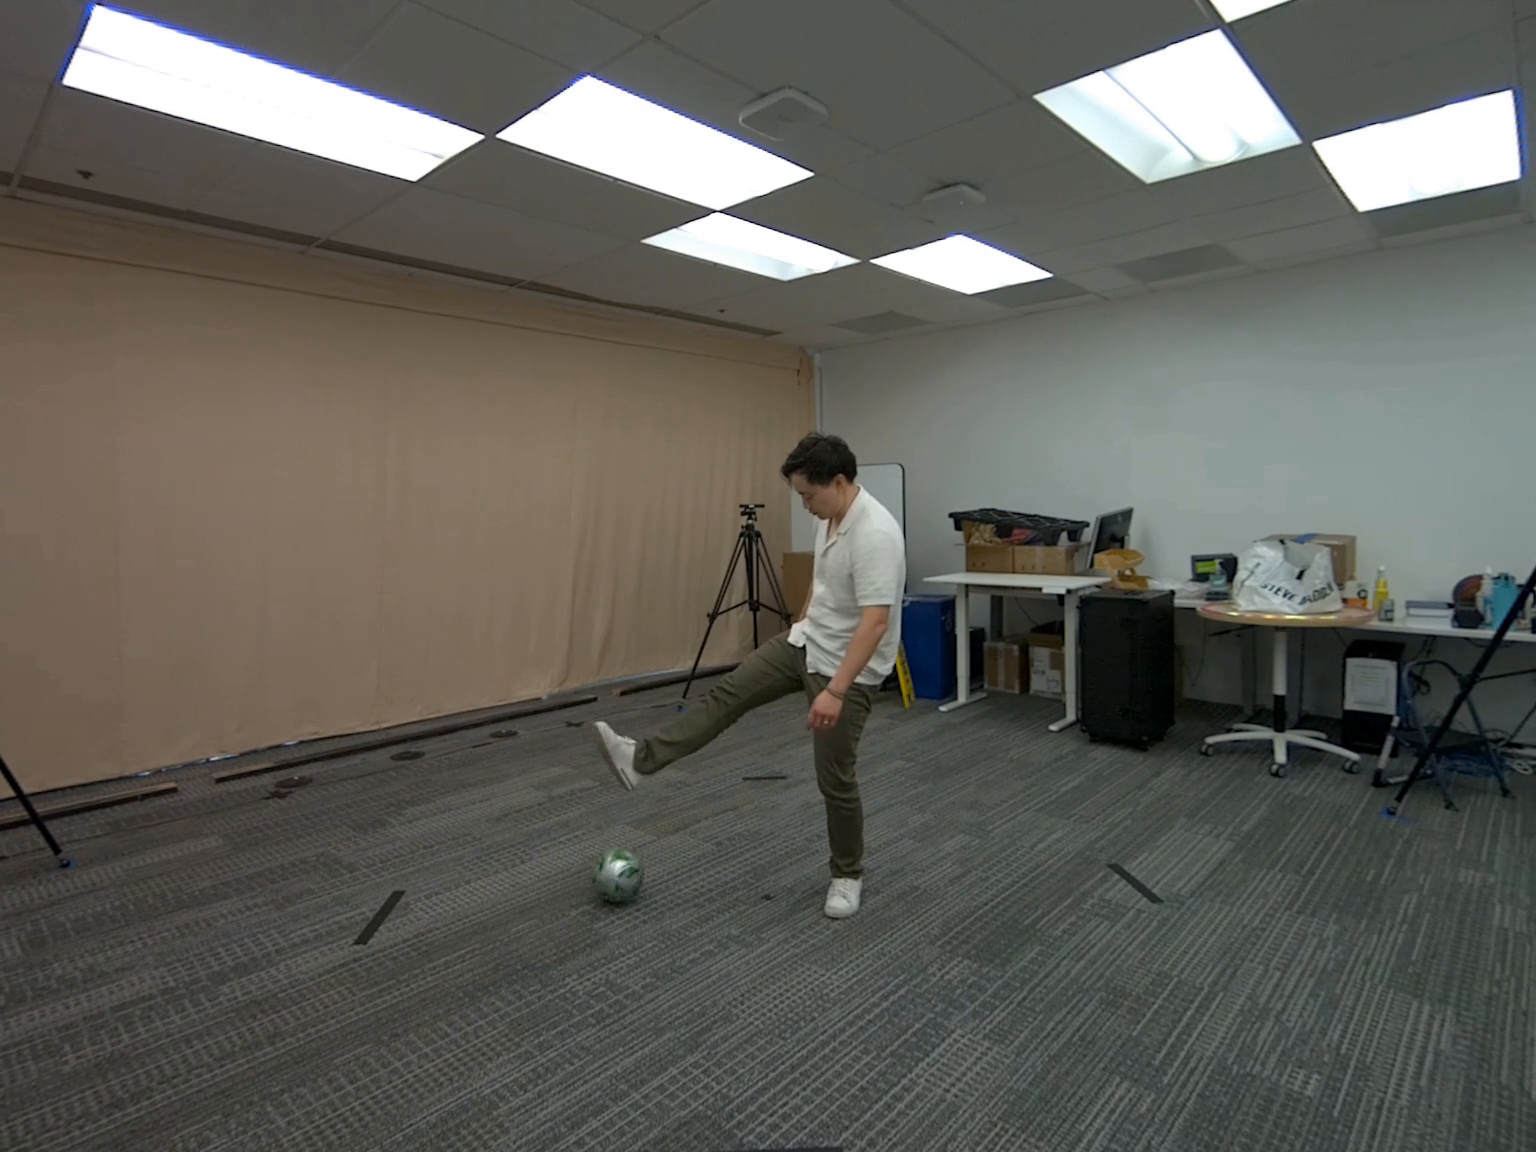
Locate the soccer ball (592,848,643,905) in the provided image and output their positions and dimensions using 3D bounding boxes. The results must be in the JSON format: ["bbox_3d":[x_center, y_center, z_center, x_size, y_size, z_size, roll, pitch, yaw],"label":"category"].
[{"bbox_3d":[-0.530,1.056,2.979,0.187,0.187,0.188,-1,4,-2],"label":"soccer ball"}]
